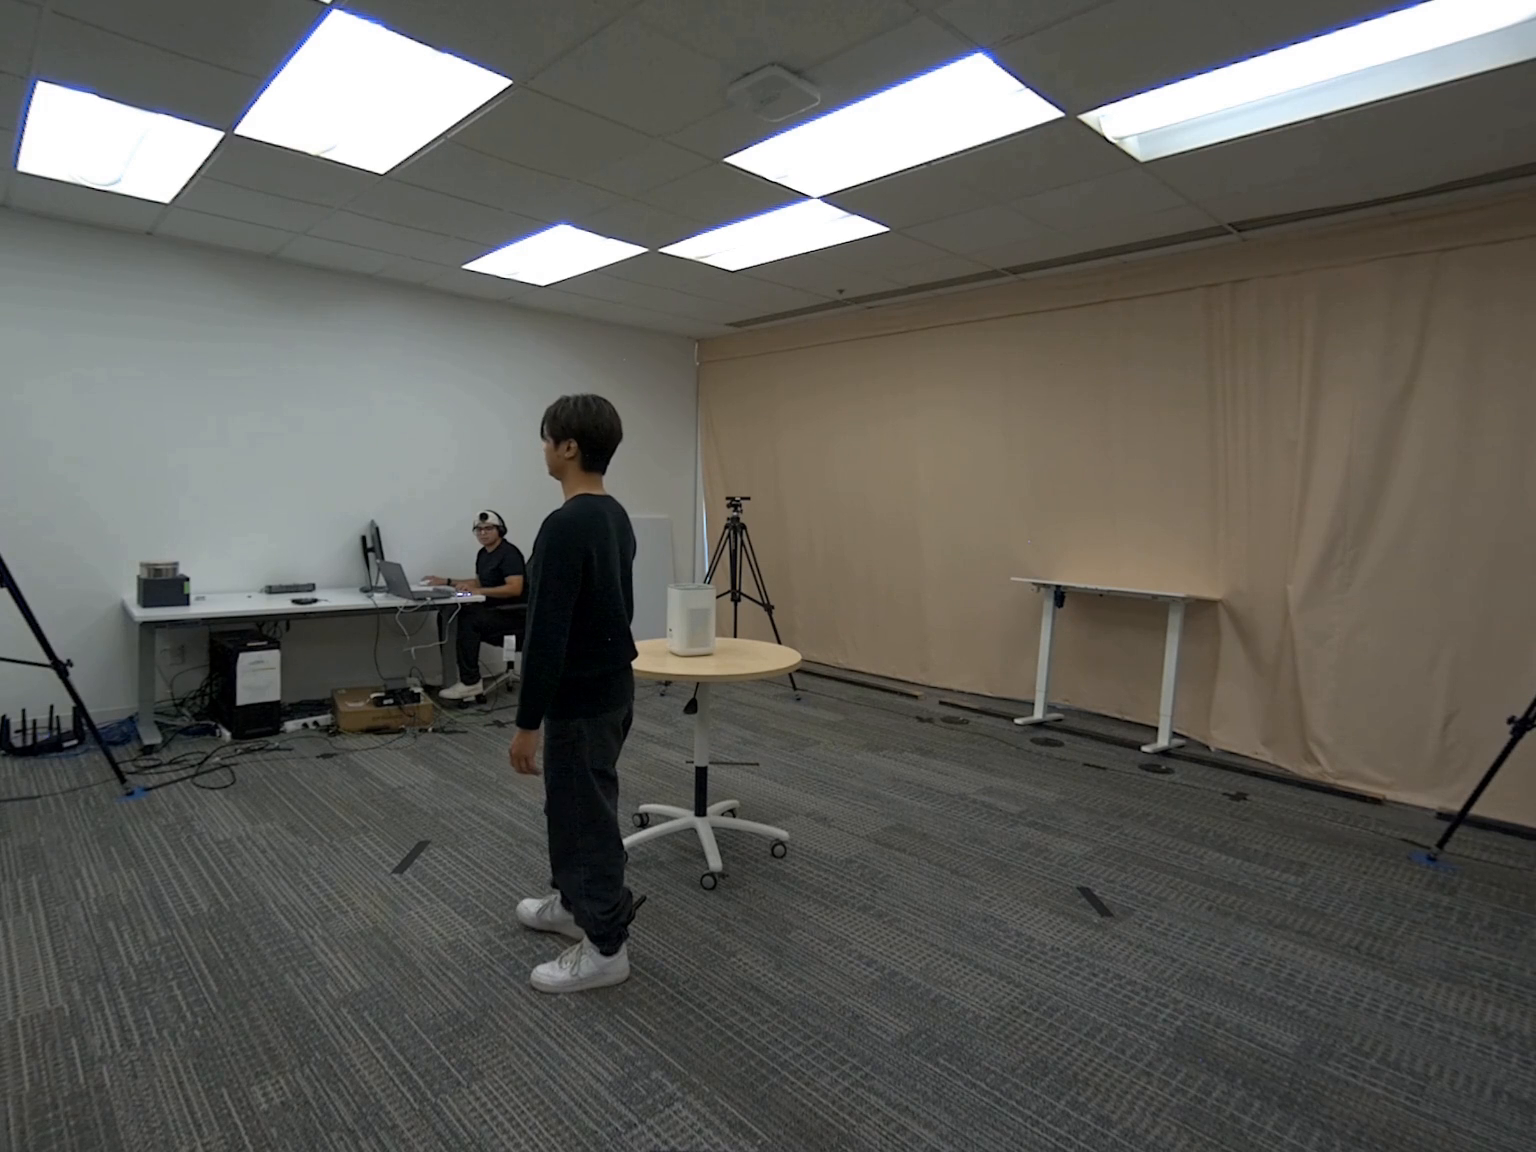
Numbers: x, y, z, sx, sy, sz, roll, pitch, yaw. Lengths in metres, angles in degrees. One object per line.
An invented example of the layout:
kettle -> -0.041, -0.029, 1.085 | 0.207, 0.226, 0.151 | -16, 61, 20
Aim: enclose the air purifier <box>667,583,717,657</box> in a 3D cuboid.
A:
air purifier -> -0.306, 0.170, 3.286 | 0.168, 0.264, 0.175 | -2, 5, -27
